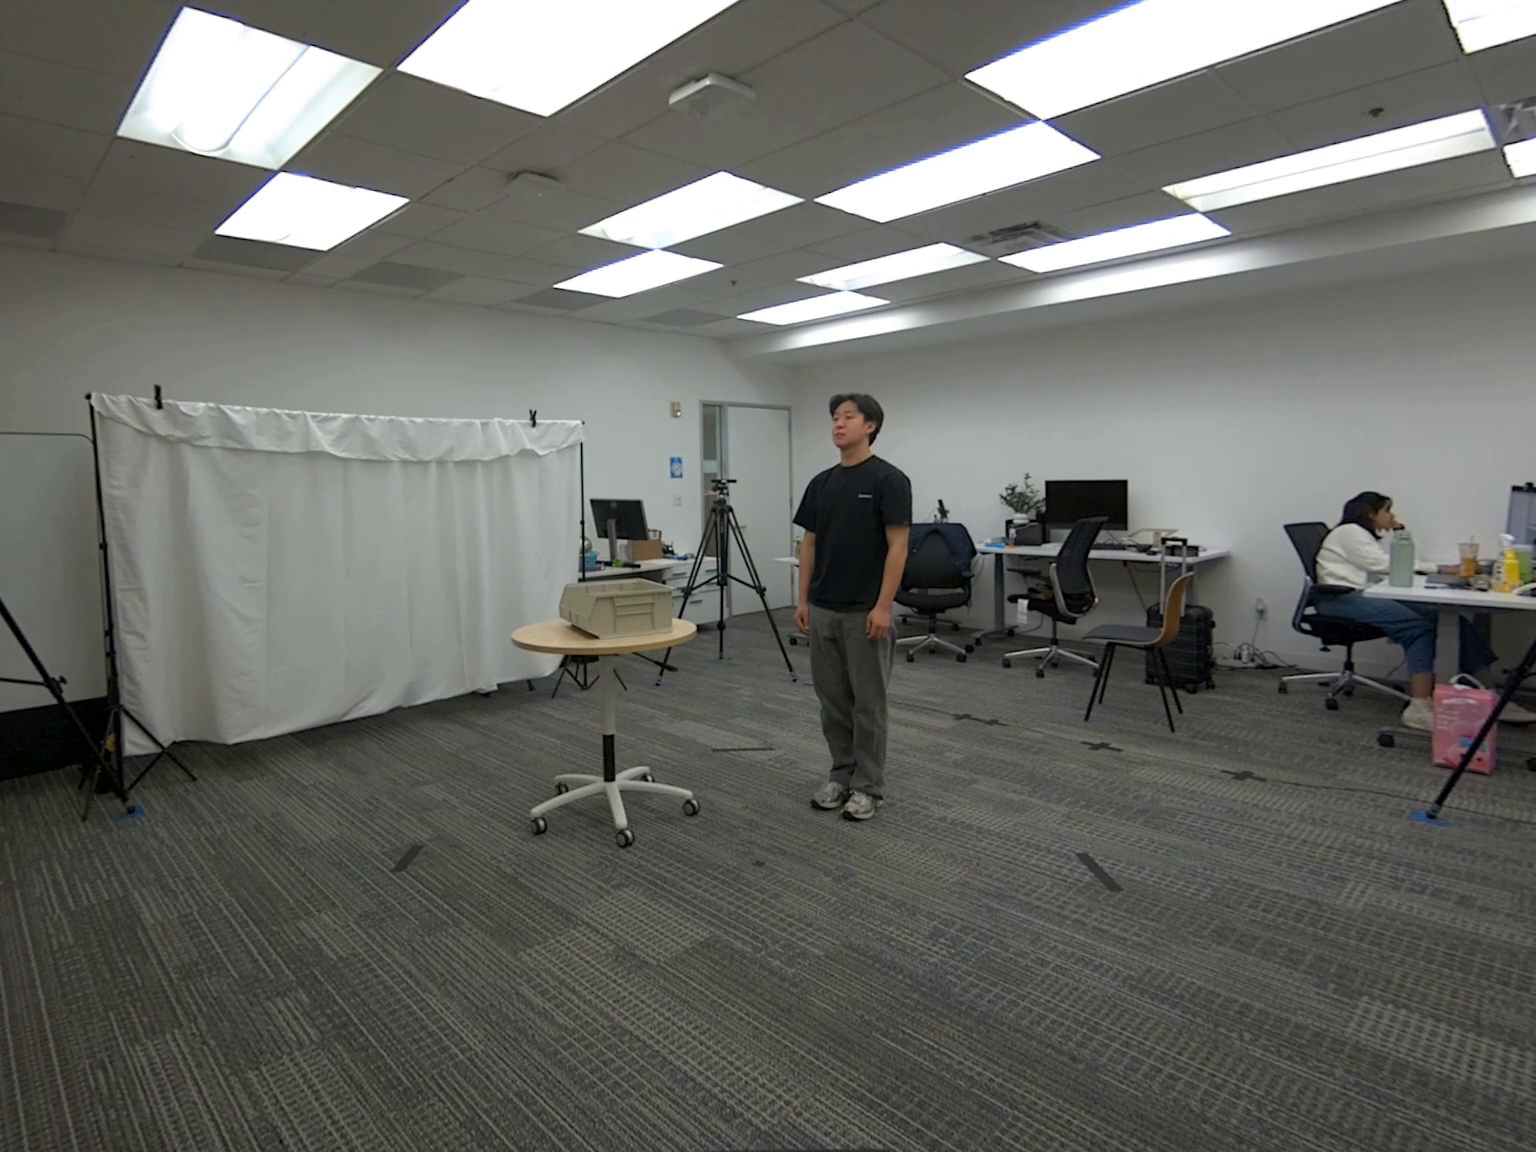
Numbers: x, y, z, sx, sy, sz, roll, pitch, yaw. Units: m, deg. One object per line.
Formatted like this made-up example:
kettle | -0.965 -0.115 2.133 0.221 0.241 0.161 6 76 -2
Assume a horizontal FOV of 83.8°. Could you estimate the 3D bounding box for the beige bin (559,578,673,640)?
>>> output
beige bin | -0.640 0.133 3.590 0.369 0.188 0.434 -3 6 -28
